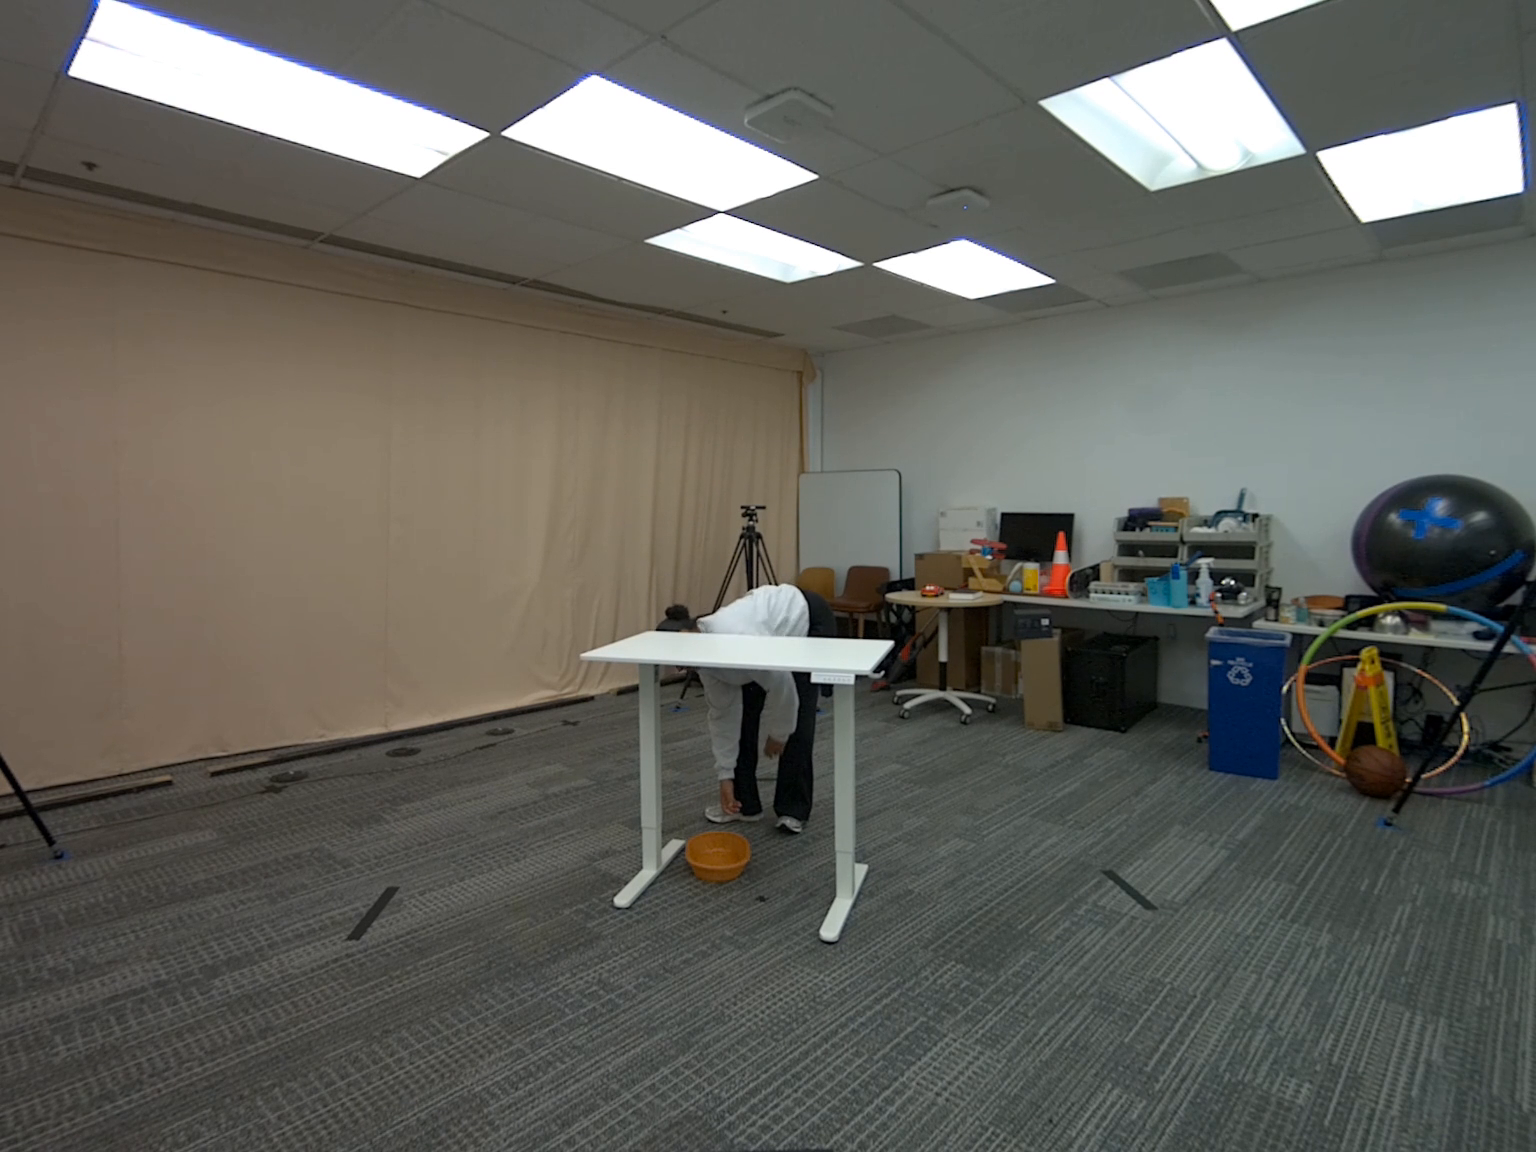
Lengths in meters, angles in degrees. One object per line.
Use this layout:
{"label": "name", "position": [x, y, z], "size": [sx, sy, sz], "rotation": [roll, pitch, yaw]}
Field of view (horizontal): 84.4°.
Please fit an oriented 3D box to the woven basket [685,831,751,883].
{"label": "woven basket", "position": [-0.197, 1.078, 3.252], "size": [0.252, 0.073, 0.351], "rotation": [-1, 4, -1]}
